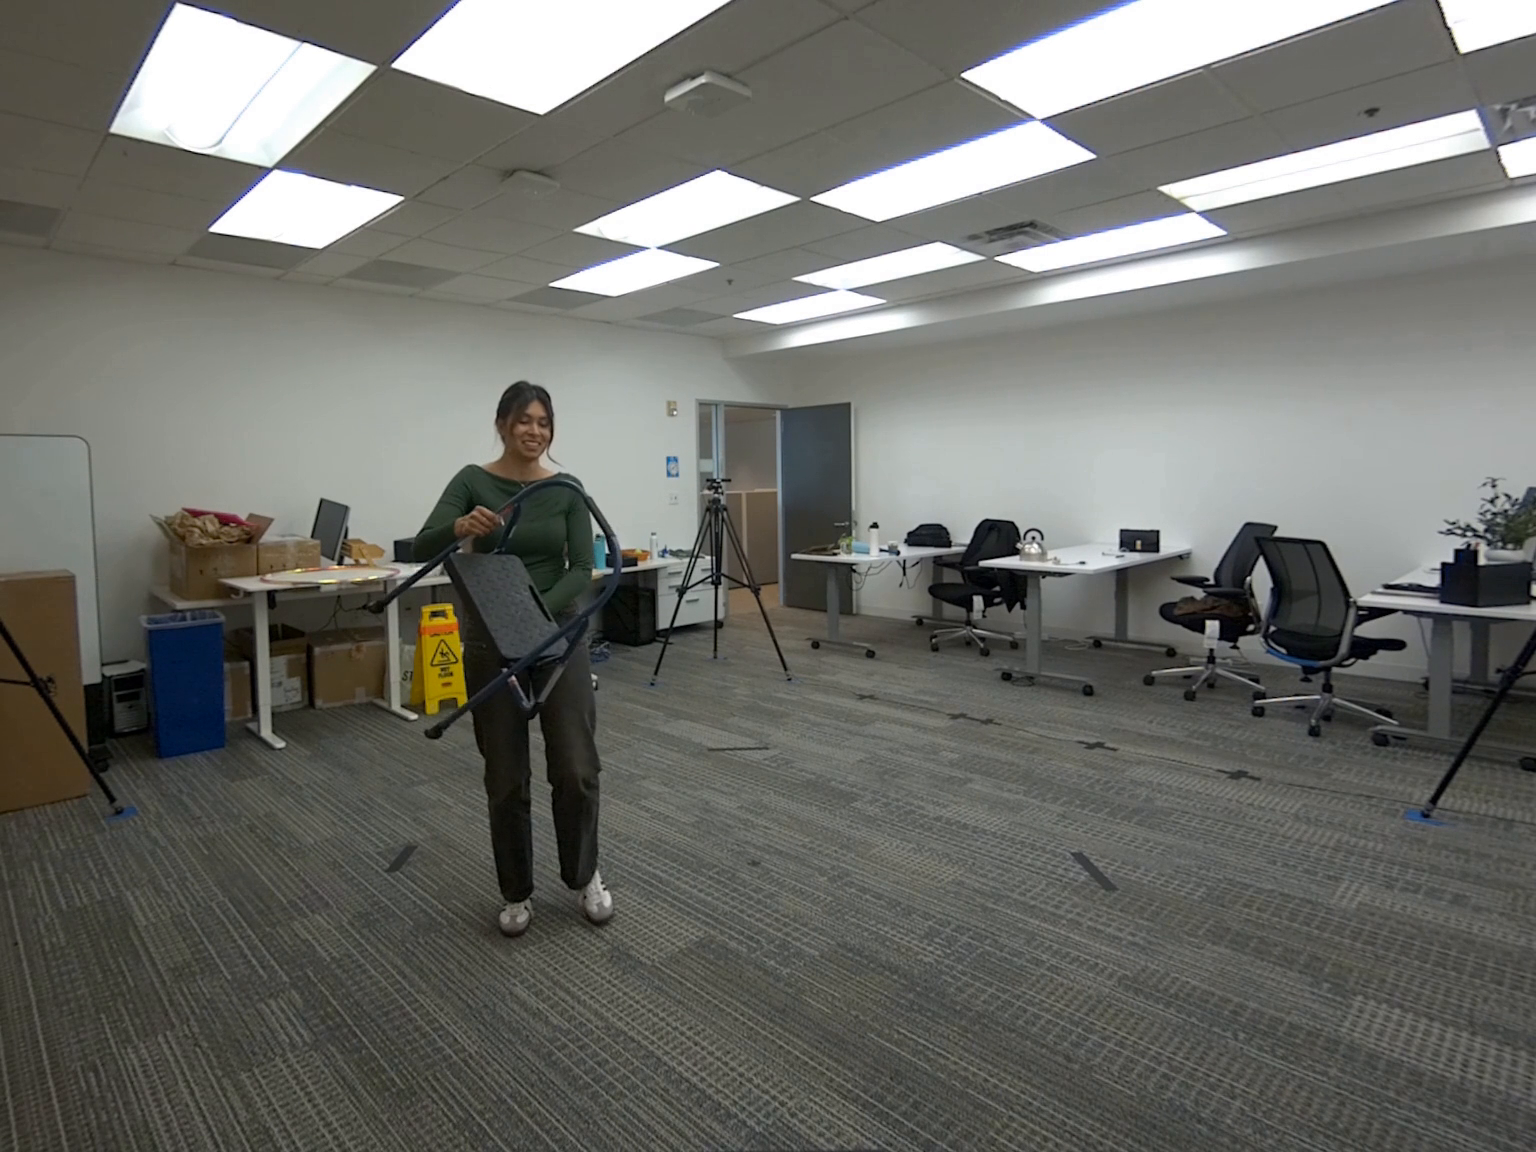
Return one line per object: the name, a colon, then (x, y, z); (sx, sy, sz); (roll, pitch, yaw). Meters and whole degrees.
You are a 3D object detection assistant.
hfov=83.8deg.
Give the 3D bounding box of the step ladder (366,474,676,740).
step ladder: (-0.658, 0.050, 2.198); (0.606, 0.443, 0.339); (-46, -24, 22)
